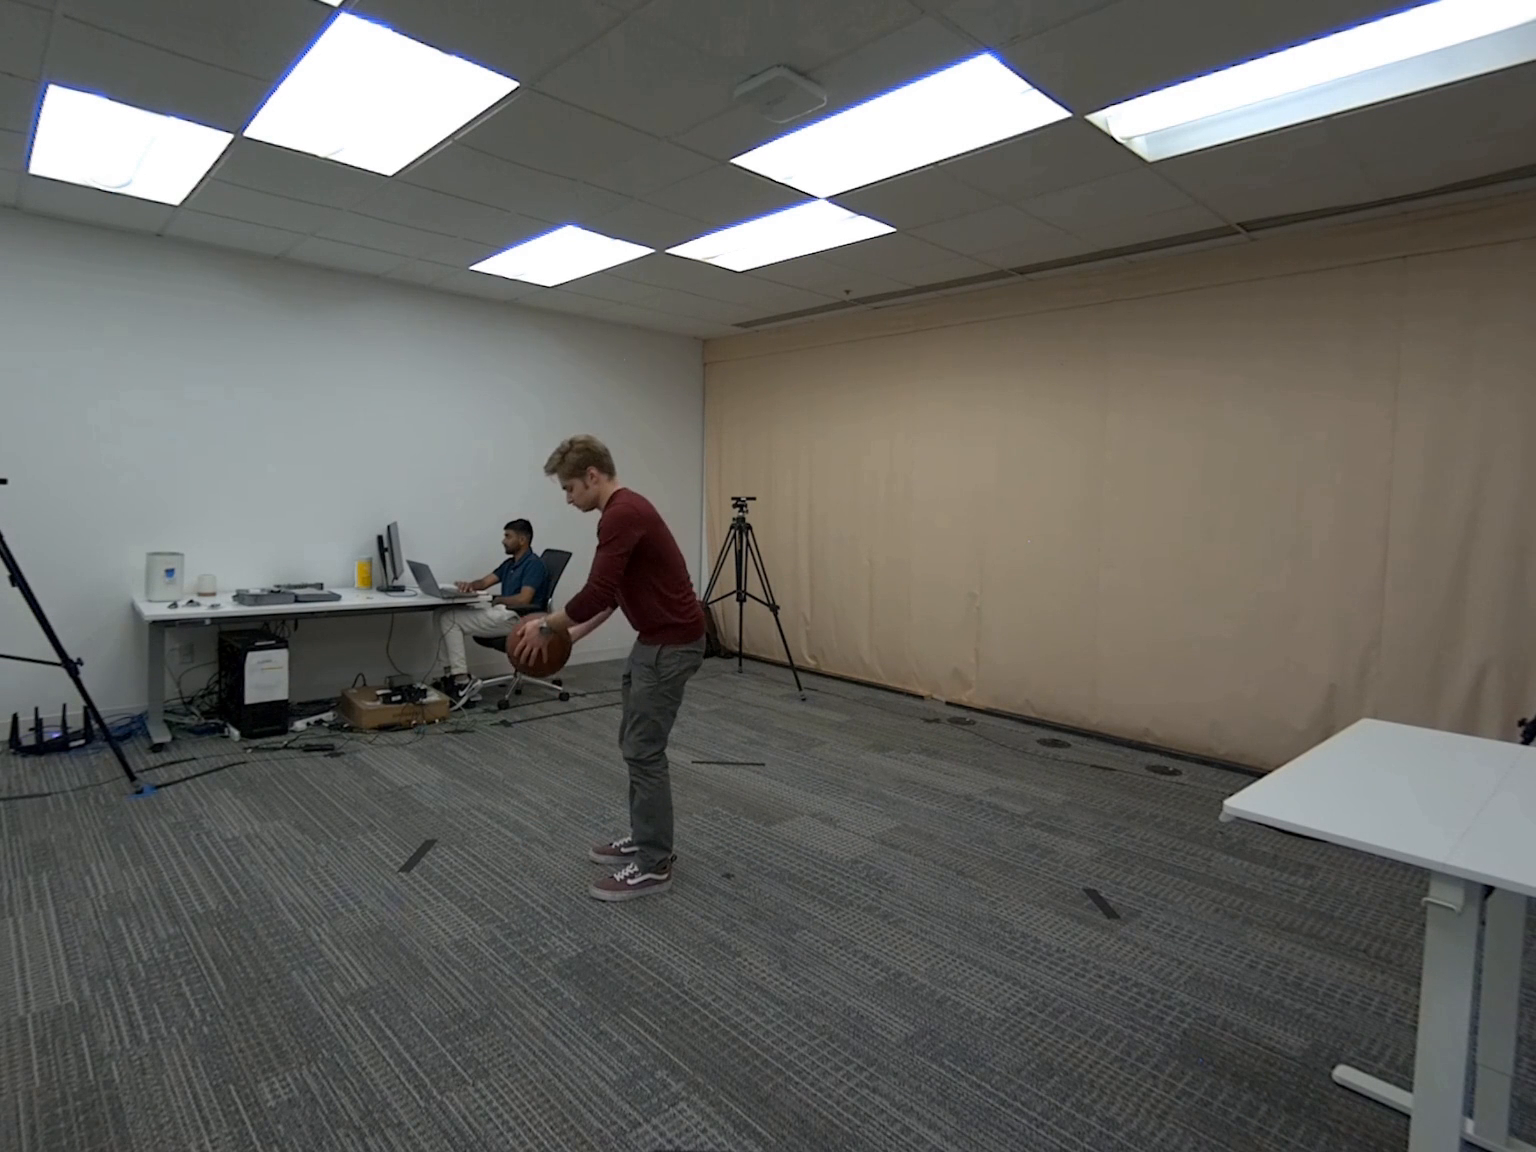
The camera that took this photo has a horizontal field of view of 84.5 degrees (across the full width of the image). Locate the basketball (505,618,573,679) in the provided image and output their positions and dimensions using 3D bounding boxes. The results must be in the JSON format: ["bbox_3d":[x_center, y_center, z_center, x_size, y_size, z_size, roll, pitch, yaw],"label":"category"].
[{"bbox_3d":[-0.842,0.267,3.104,0.236,0.235,0.237,1,4,-1],"label":"basketball"}]
